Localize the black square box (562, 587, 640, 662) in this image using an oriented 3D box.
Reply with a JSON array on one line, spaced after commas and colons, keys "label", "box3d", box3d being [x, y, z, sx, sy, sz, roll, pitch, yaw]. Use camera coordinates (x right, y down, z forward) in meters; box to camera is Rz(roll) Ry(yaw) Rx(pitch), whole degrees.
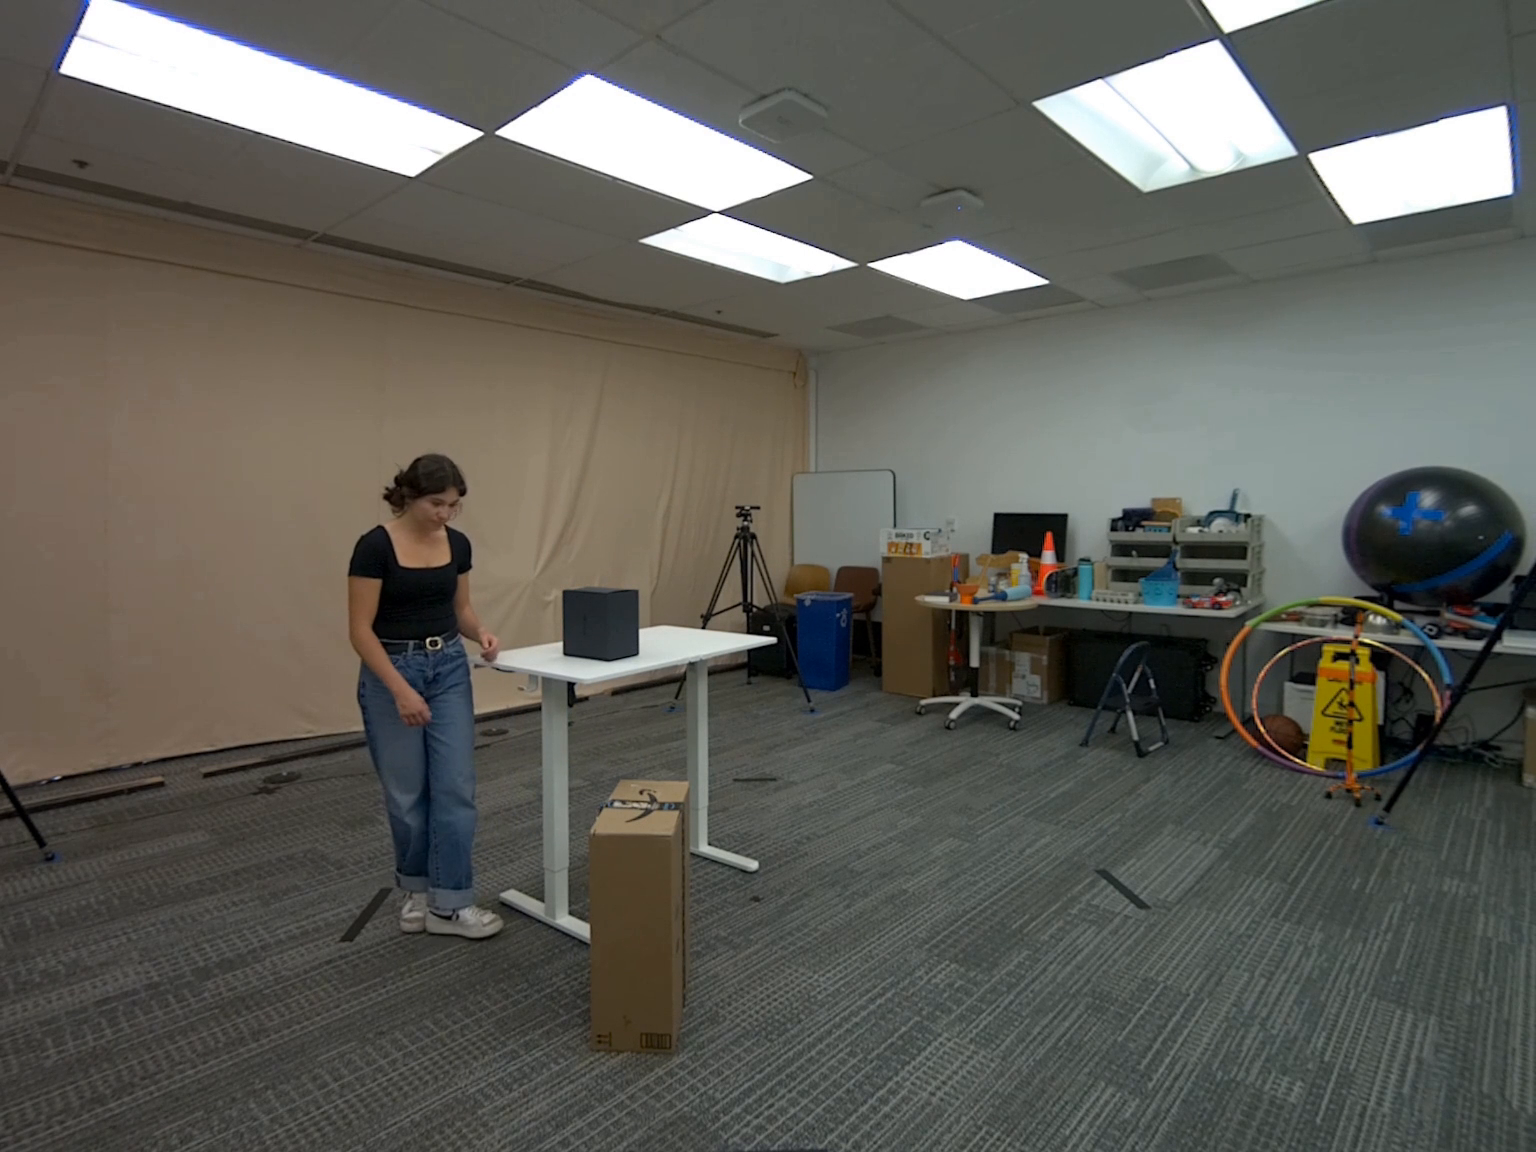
[{"label": "black square box", "box3d": [-0.580, 0.159, 2.875, 0.224, 0.227, 0.151, 3, 4, 41]}]
